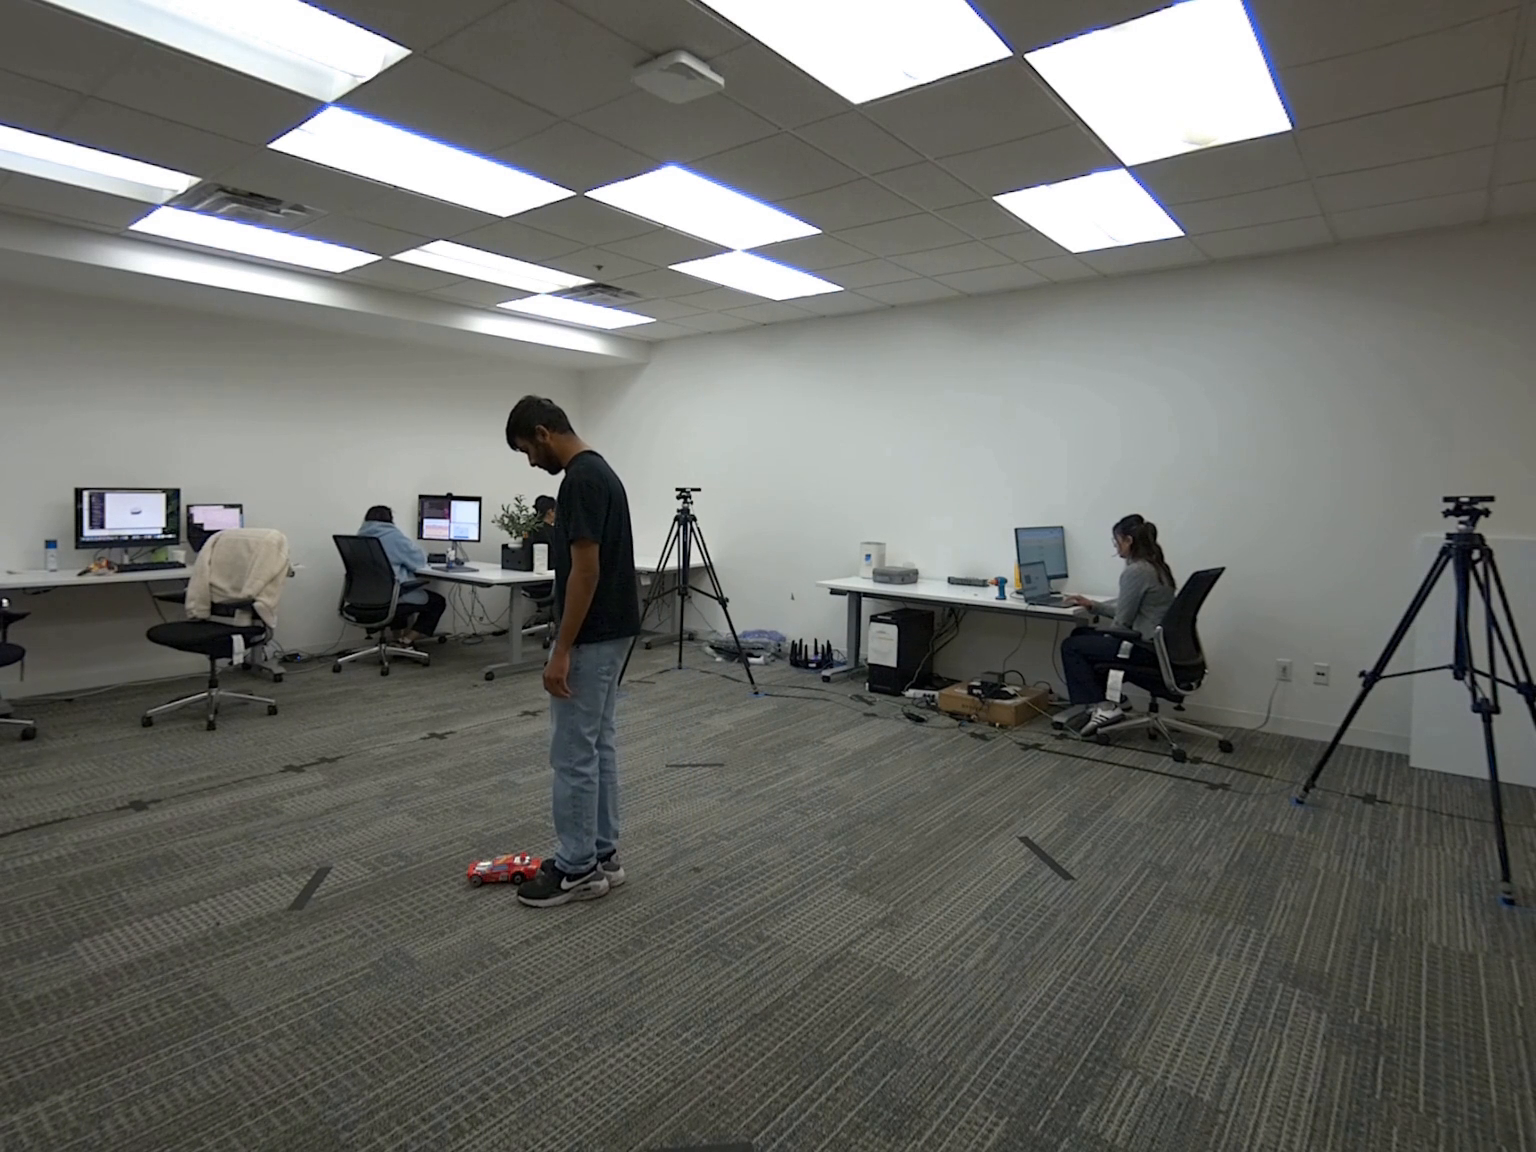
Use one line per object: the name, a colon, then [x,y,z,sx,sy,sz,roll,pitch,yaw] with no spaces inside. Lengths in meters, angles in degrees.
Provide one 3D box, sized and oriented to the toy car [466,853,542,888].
toy car: [-0.939,1.035,3.011,0.253,0.083,0.132,-11,7,-5]
